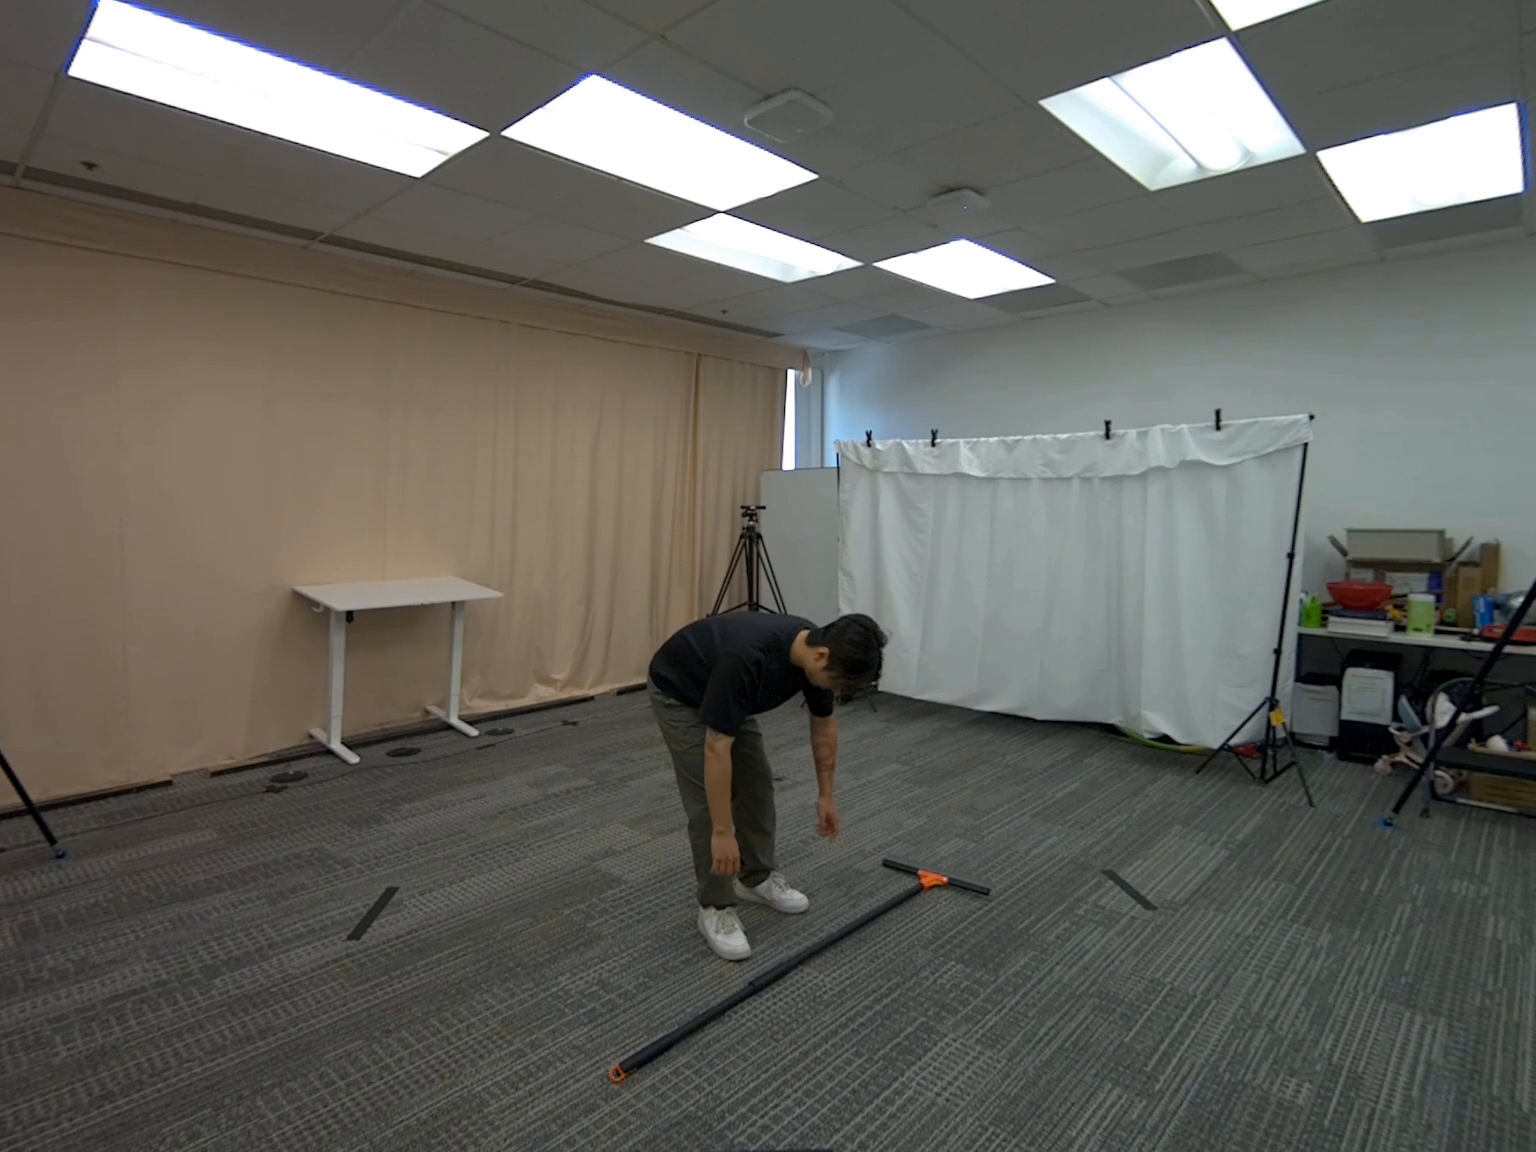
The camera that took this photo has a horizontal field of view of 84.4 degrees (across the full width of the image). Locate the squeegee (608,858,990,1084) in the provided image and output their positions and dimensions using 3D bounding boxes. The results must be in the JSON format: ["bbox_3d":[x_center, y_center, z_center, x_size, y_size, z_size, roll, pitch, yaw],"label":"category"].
[{"bbox_3d":[0.130,1.138,2.583,0.452,0.053,1.491,2,6,43],"label":"squeegee"}]
